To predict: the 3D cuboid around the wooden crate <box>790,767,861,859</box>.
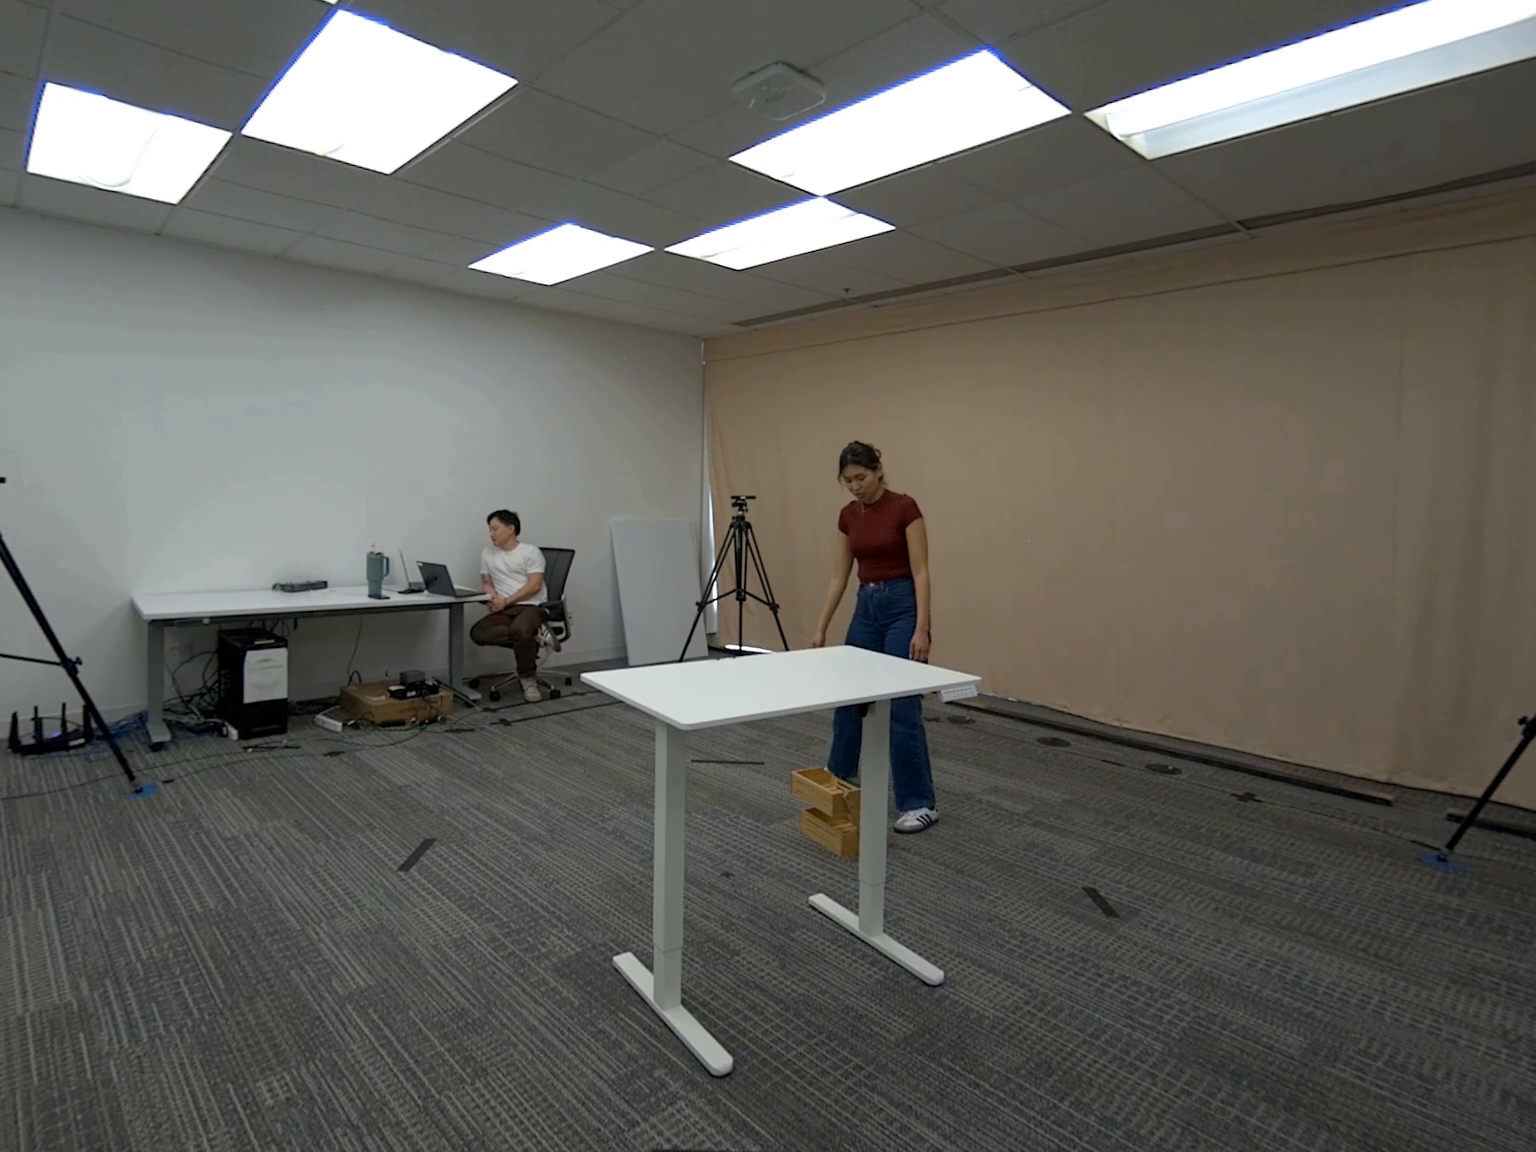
[{"bbox_3d":[0.291,0.947,3.445,0.296,0.273,0.332,-1,4,-30],"label":"wooden crate"}]
